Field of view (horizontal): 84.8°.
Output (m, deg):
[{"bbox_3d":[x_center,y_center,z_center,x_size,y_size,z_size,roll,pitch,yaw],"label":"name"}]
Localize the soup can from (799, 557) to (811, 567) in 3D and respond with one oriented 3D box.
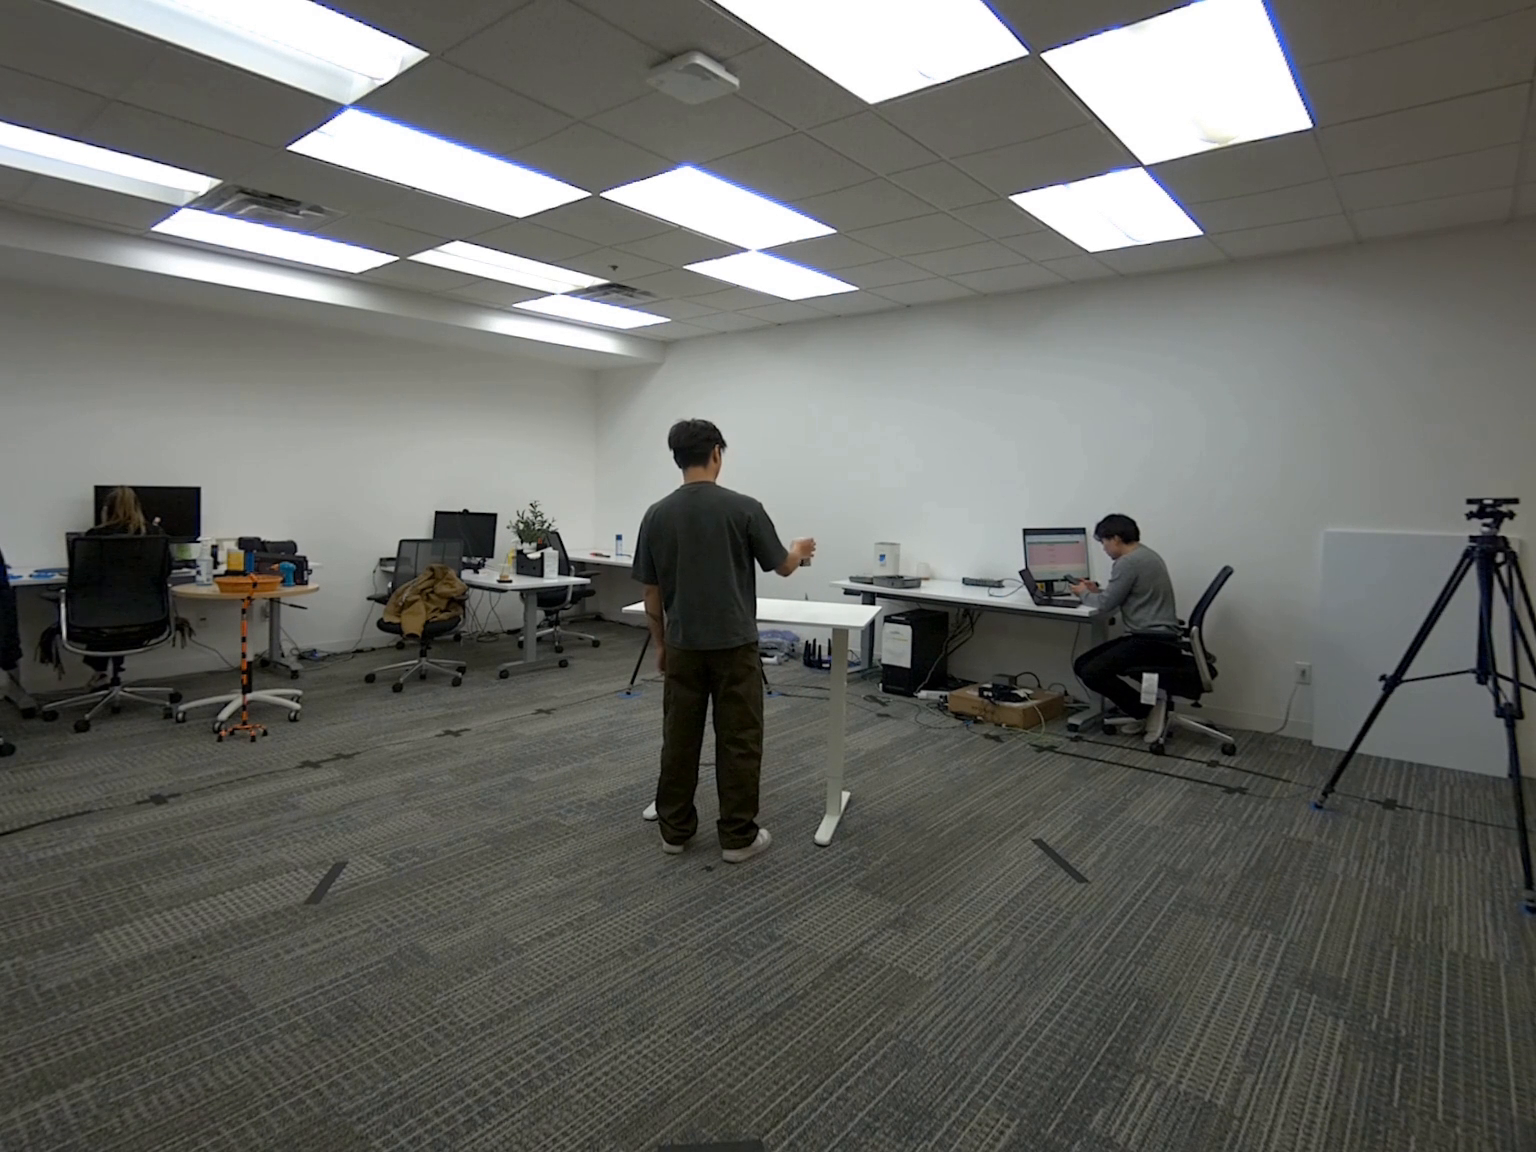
[{"bbox_3d":[0.133,-0.103,3.579,0.067,0.121,0.067,-5,7,-1],"label":"soup can"}]
